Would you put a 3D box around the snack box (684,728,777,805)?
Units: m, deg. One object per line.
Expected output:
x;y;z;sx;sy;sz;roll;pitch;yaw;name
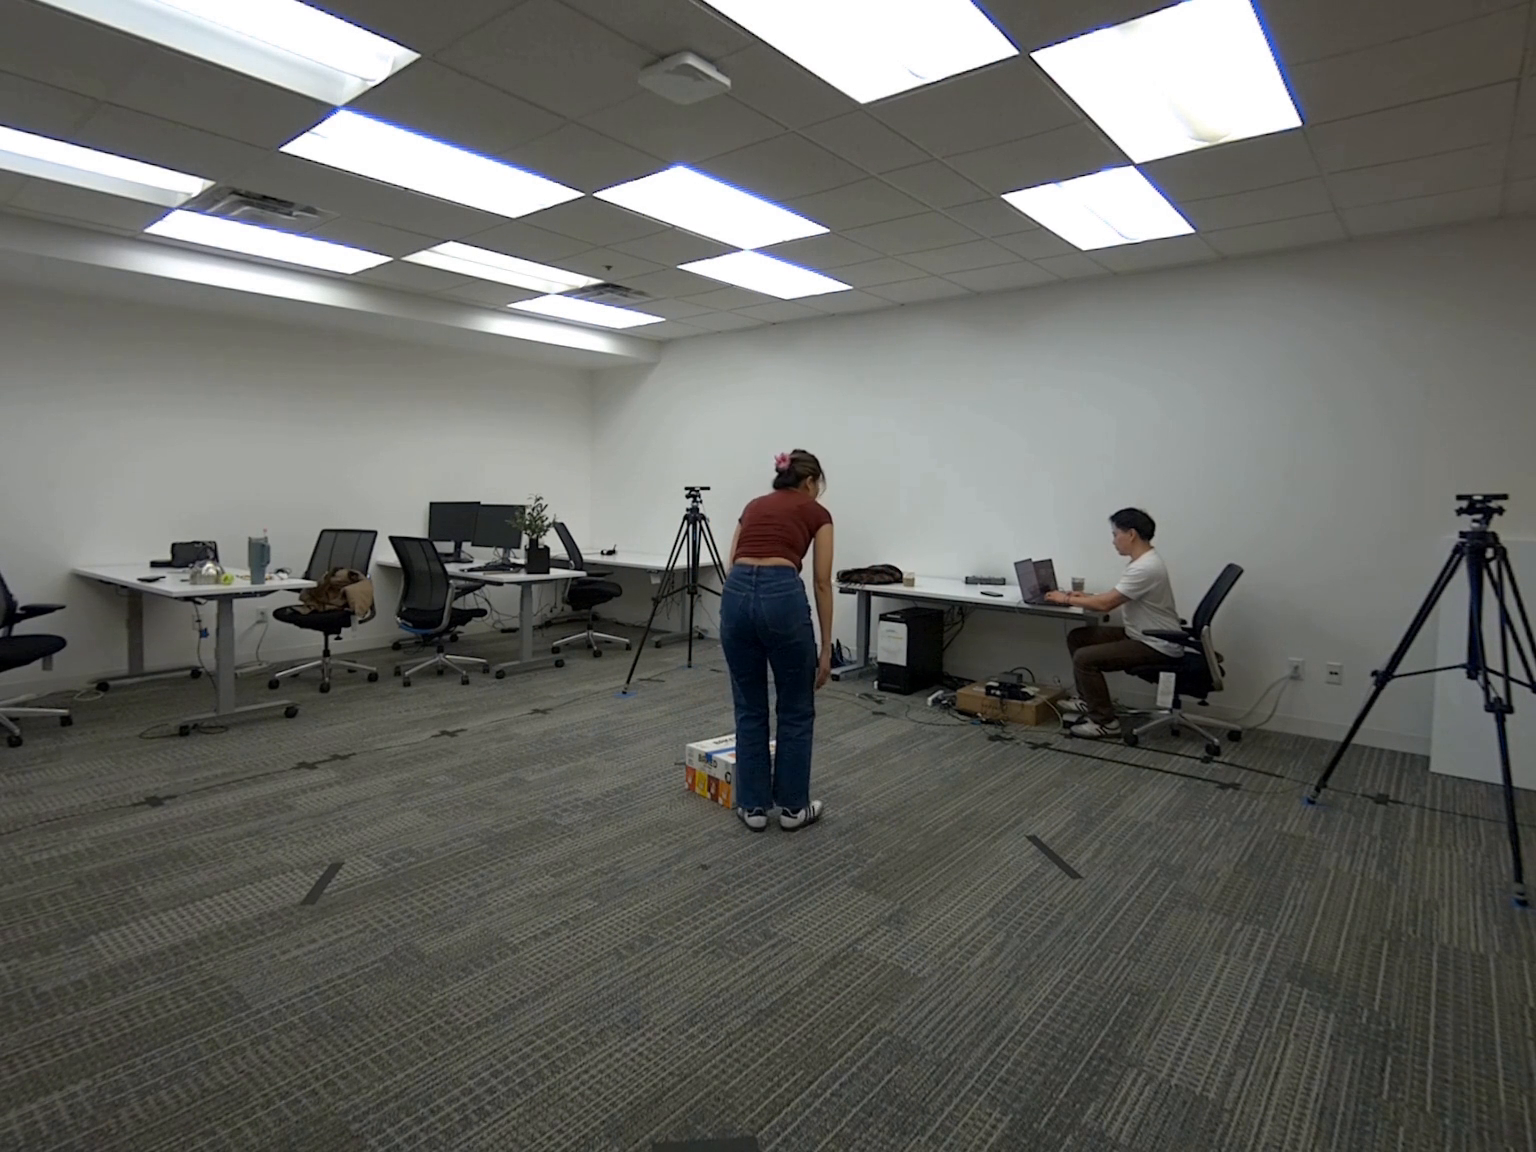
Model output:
-0.127;0.872;3.940;0.393;0.205;0.352;-4;7;-41;snack box
